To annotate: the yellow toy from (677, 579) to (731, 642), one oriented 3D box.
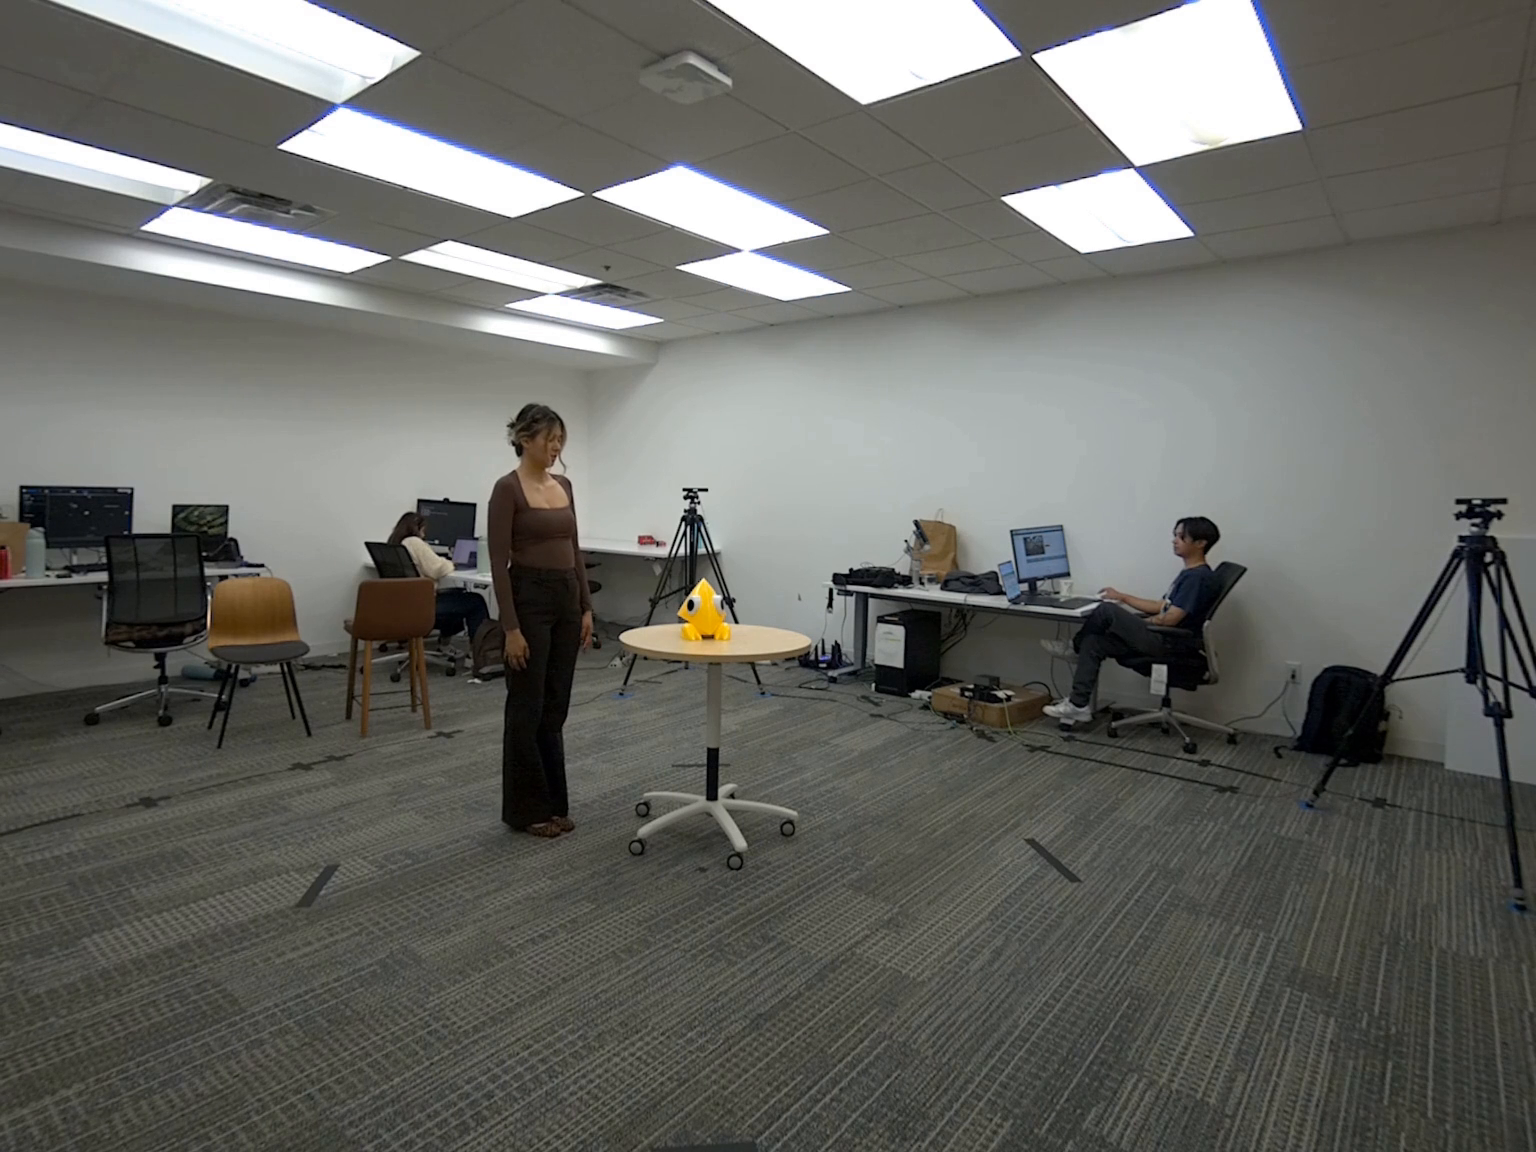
[{"bbox_3d":[-0.257,0.128,3.412,0.202,0.230,0.196,2,4,-13],"label":"yellow toy"}]
